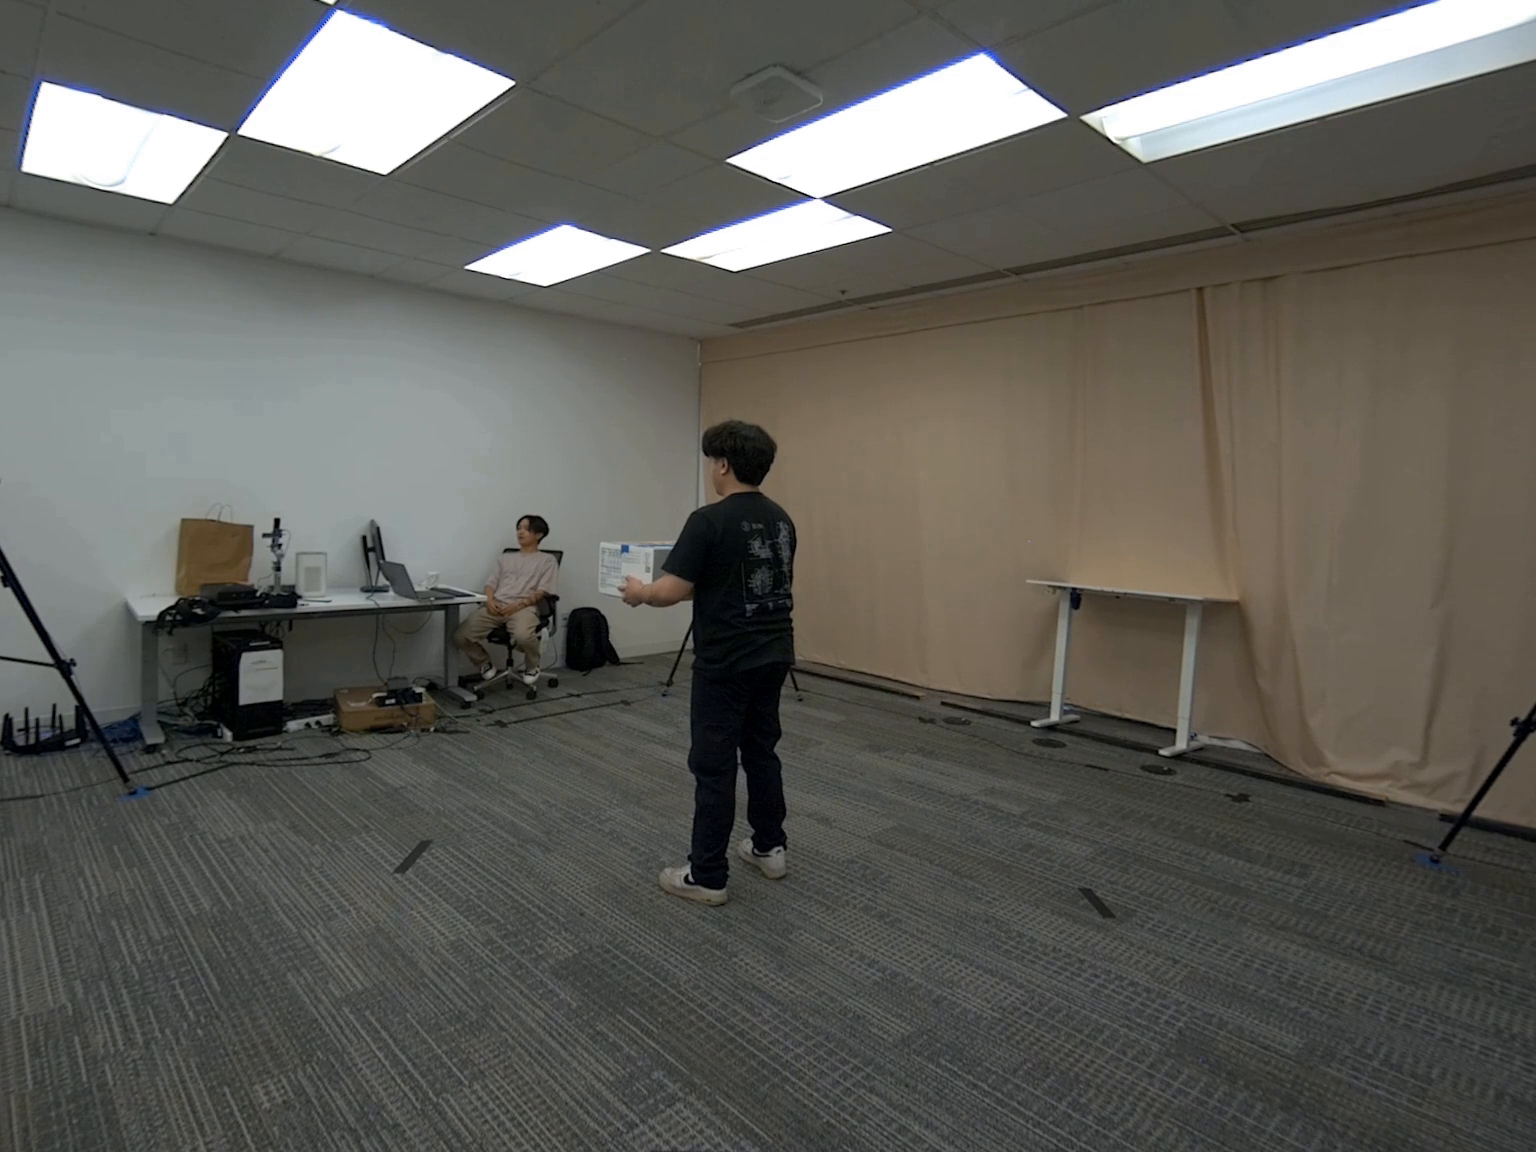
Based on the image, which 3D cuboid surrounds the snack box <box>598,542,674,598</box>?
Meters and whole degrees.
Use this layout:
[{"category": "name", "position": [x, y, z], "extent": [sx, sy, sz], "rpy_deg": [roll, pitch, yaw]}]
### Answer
[{"category": "snack box", "position": [-0.404, -0.022, 3.317], "extent": [0.396, 0.205, 0.349], "rpy_deg": [-3, 7, -45]}]
